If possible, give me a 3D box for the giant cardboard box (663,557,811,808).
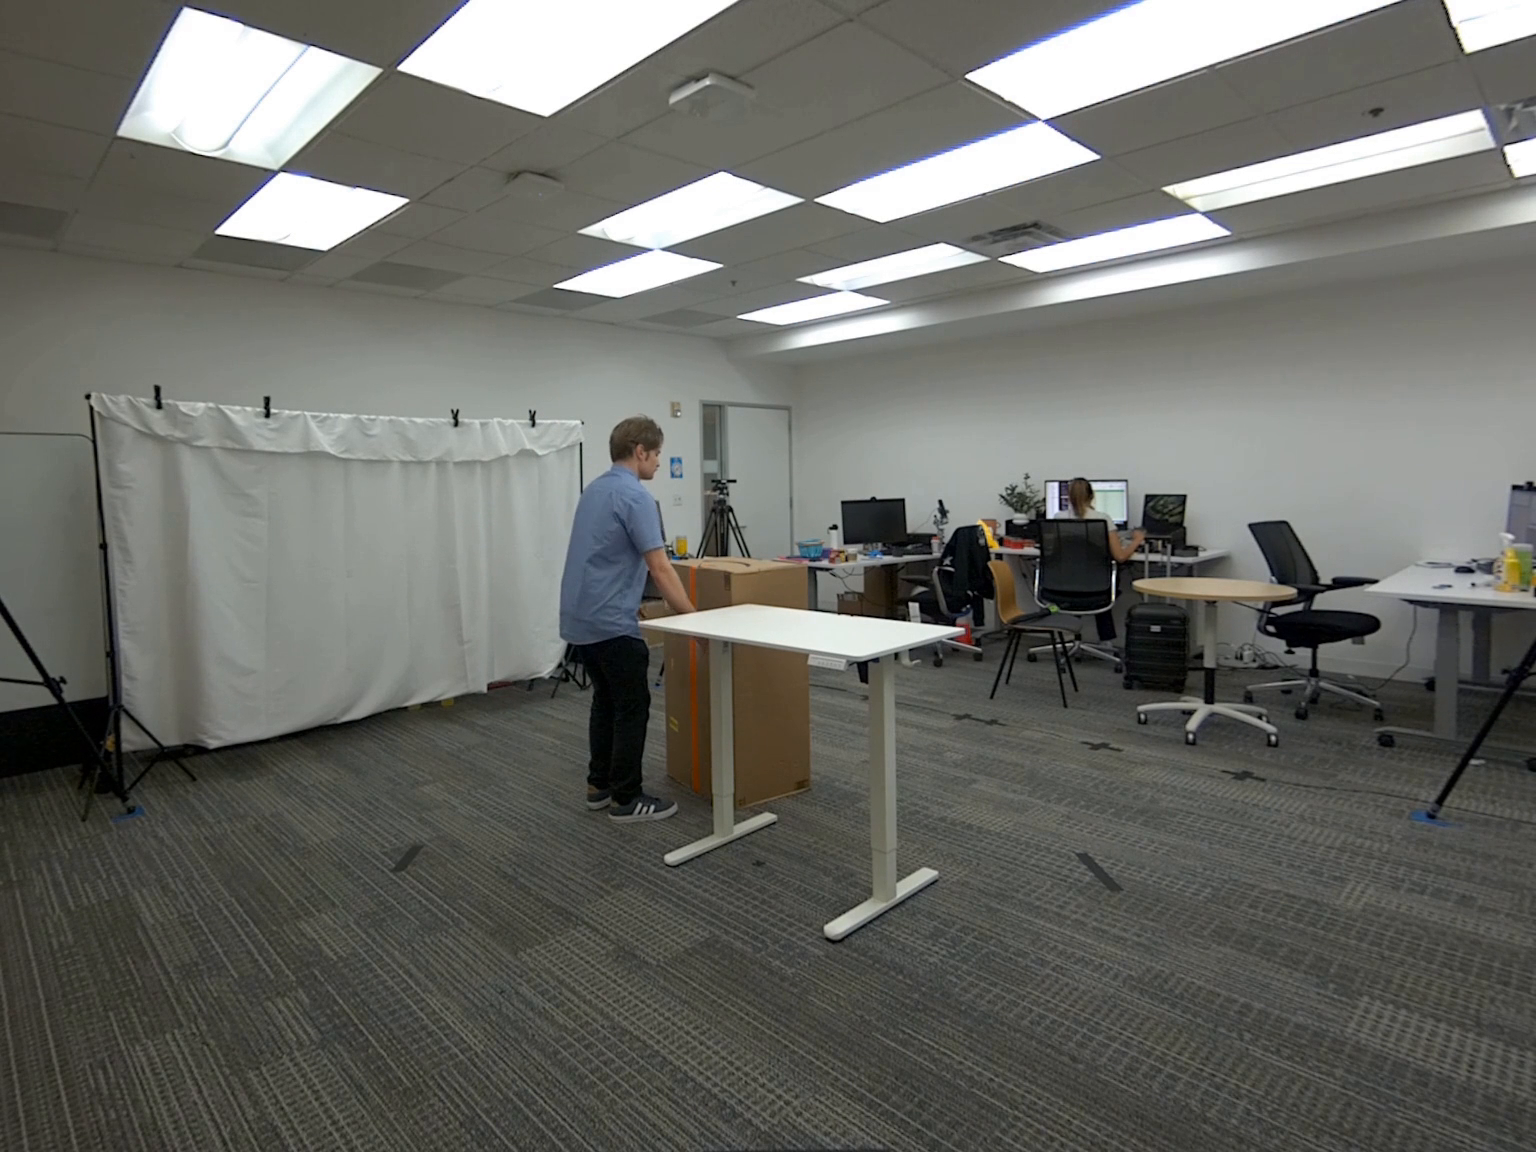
[{"bbox_3d":[-0.156,0.447,3.931,0.415,1.022,0.594,-4,5,-37],"label":"giant cardboard box"}]
